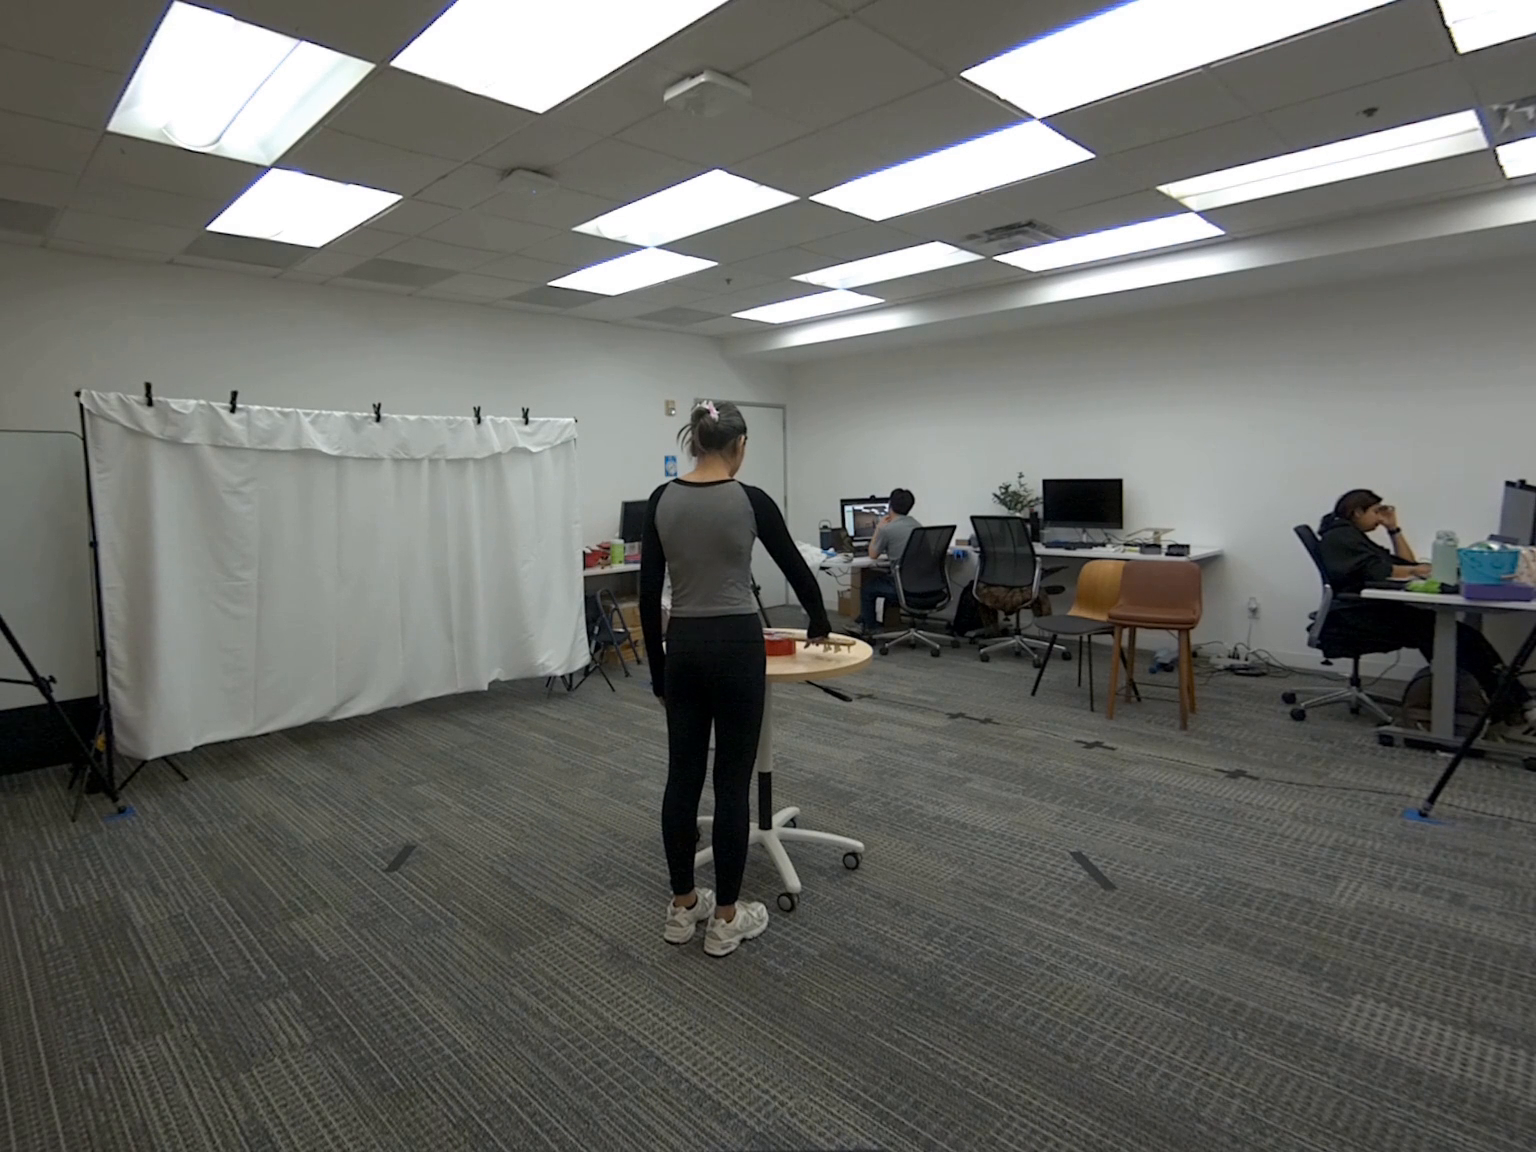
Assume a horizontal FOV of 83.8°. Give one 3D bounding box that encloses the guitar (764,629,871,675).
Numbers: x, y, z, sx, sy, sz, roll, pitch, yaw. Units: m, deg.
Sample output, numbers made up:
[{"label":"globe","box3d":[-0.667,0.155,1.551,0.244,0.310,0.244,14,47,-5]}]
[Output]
[{"label":"guitar","box3d":[0.055,0.237,2.929,0.512,0.070,0.188,4,9,35]}]
